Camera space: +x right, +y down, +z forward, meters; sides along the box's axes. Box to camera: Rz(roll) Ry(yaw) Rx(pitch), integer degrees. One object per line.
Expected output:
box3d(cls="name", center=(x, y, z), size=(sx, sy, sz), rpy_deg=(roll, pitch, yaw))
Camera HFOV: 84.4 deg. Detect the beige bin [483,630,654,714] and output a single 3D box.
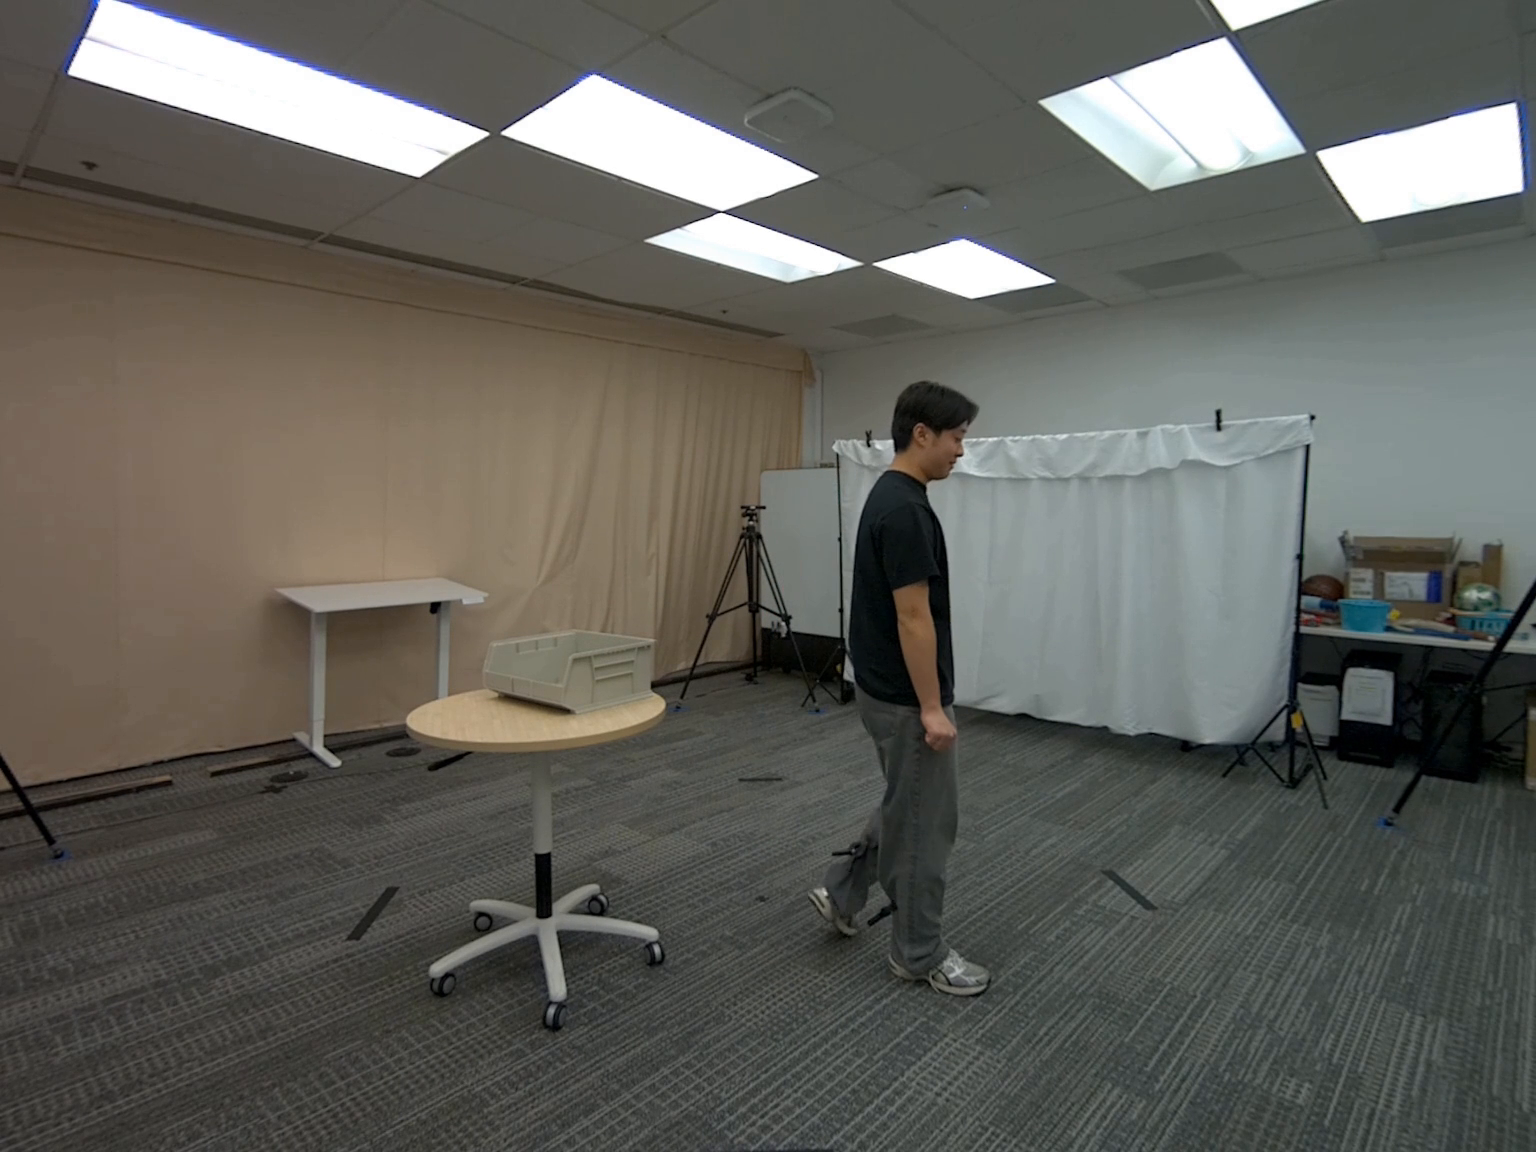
box3d(cls="beige bin", center=(-0.633, 0.301, 2.705), size=(0.436, 0.188, 0.366), rpy_deg=(2, 5, 43))
